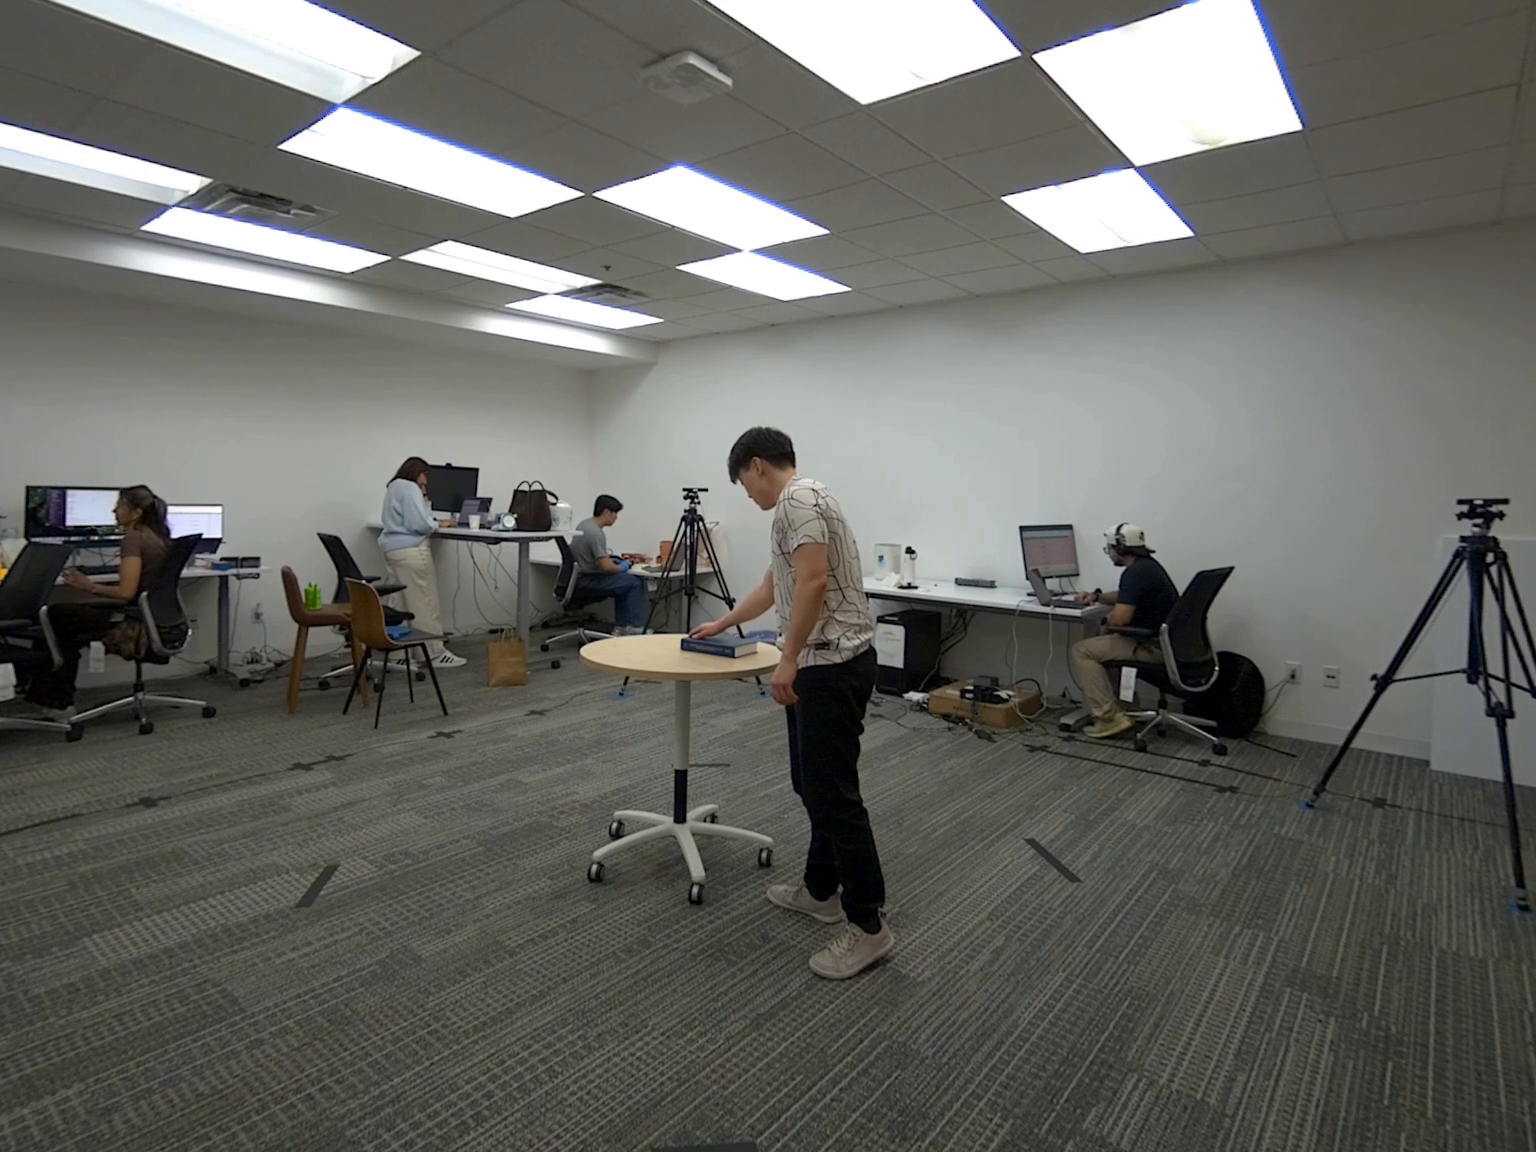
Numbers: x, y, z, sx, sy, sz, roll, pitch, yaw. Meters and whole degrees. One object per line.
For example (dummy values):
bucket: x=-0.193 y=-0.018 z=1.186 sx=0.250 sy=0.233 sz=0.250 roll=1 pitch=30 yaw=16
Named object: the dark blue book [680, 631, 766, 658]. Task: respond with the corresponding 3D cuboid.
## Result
dark blue book: x=-0.187 y=0.259 z=3.177 sx=0.252 sy=0.045 sz=0.159 roll=4 pitch=6 yaw=32
